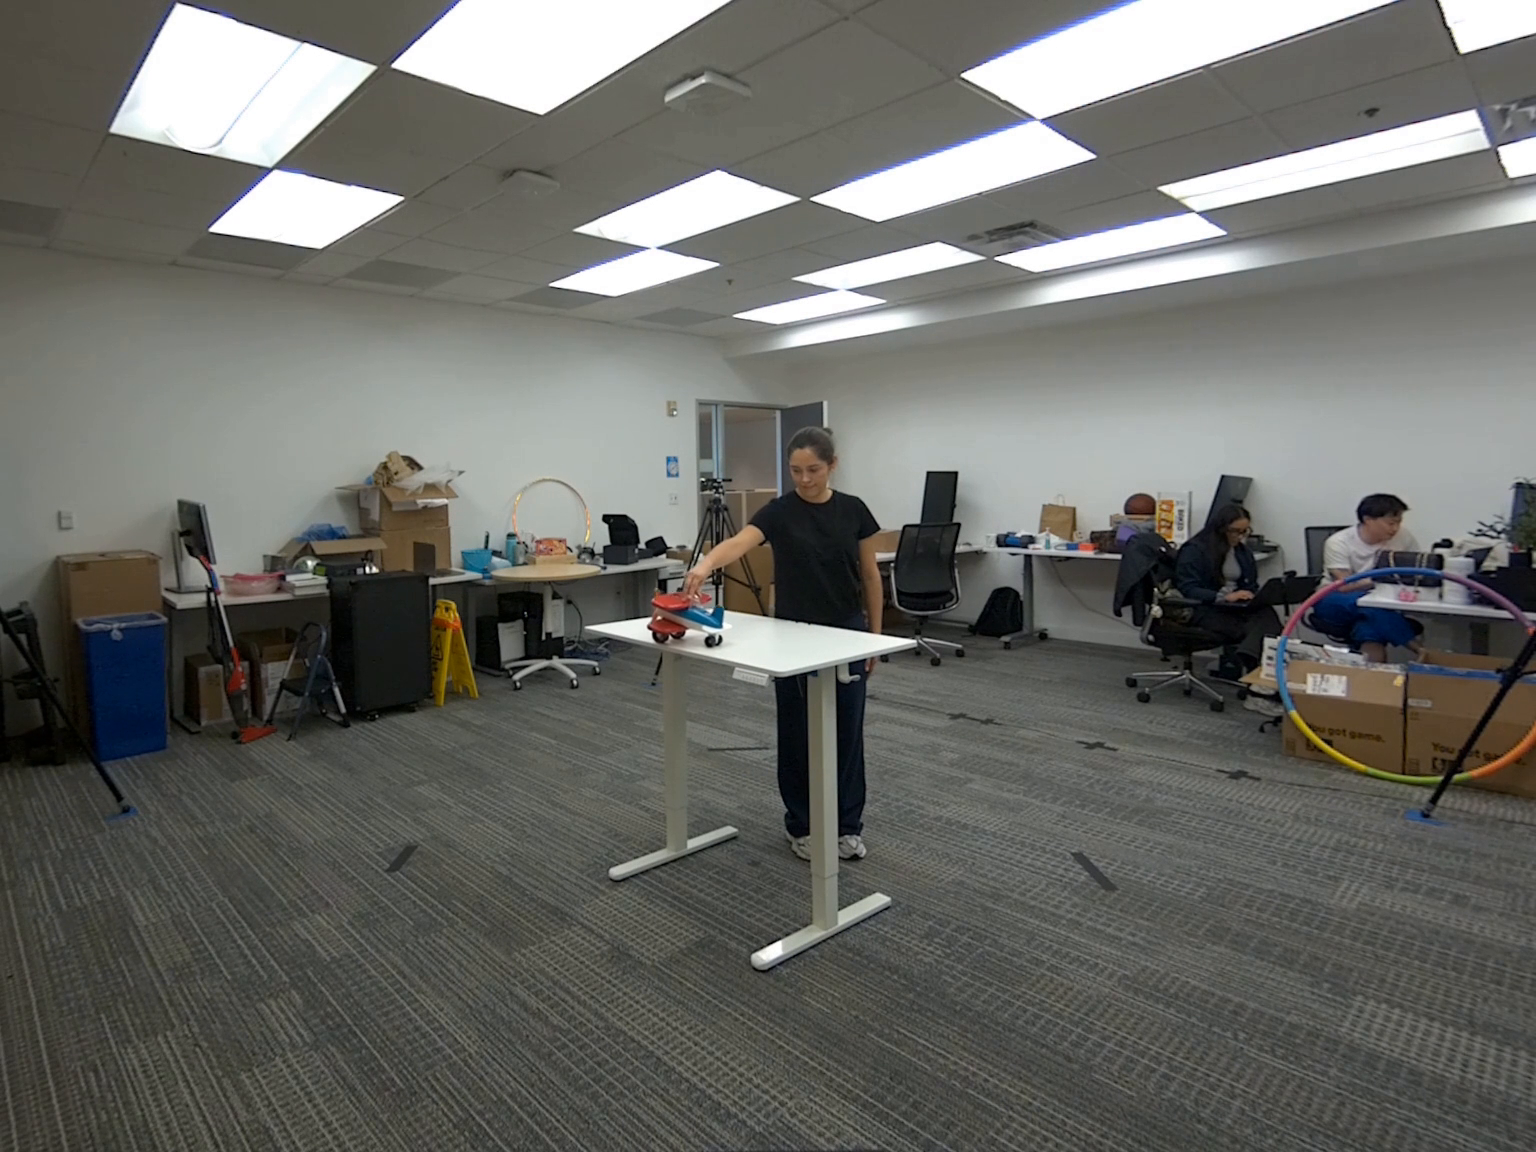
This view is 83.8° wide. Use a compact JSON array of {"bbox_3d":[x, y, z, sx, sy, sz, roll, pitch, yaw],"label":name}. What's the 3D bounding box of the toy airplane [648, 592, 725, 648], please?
[{"bbox_3d":[-0.237,0.133,2.720,0.261,0.156,0.251,-1,5,5],"label":"toy airplane"}]
